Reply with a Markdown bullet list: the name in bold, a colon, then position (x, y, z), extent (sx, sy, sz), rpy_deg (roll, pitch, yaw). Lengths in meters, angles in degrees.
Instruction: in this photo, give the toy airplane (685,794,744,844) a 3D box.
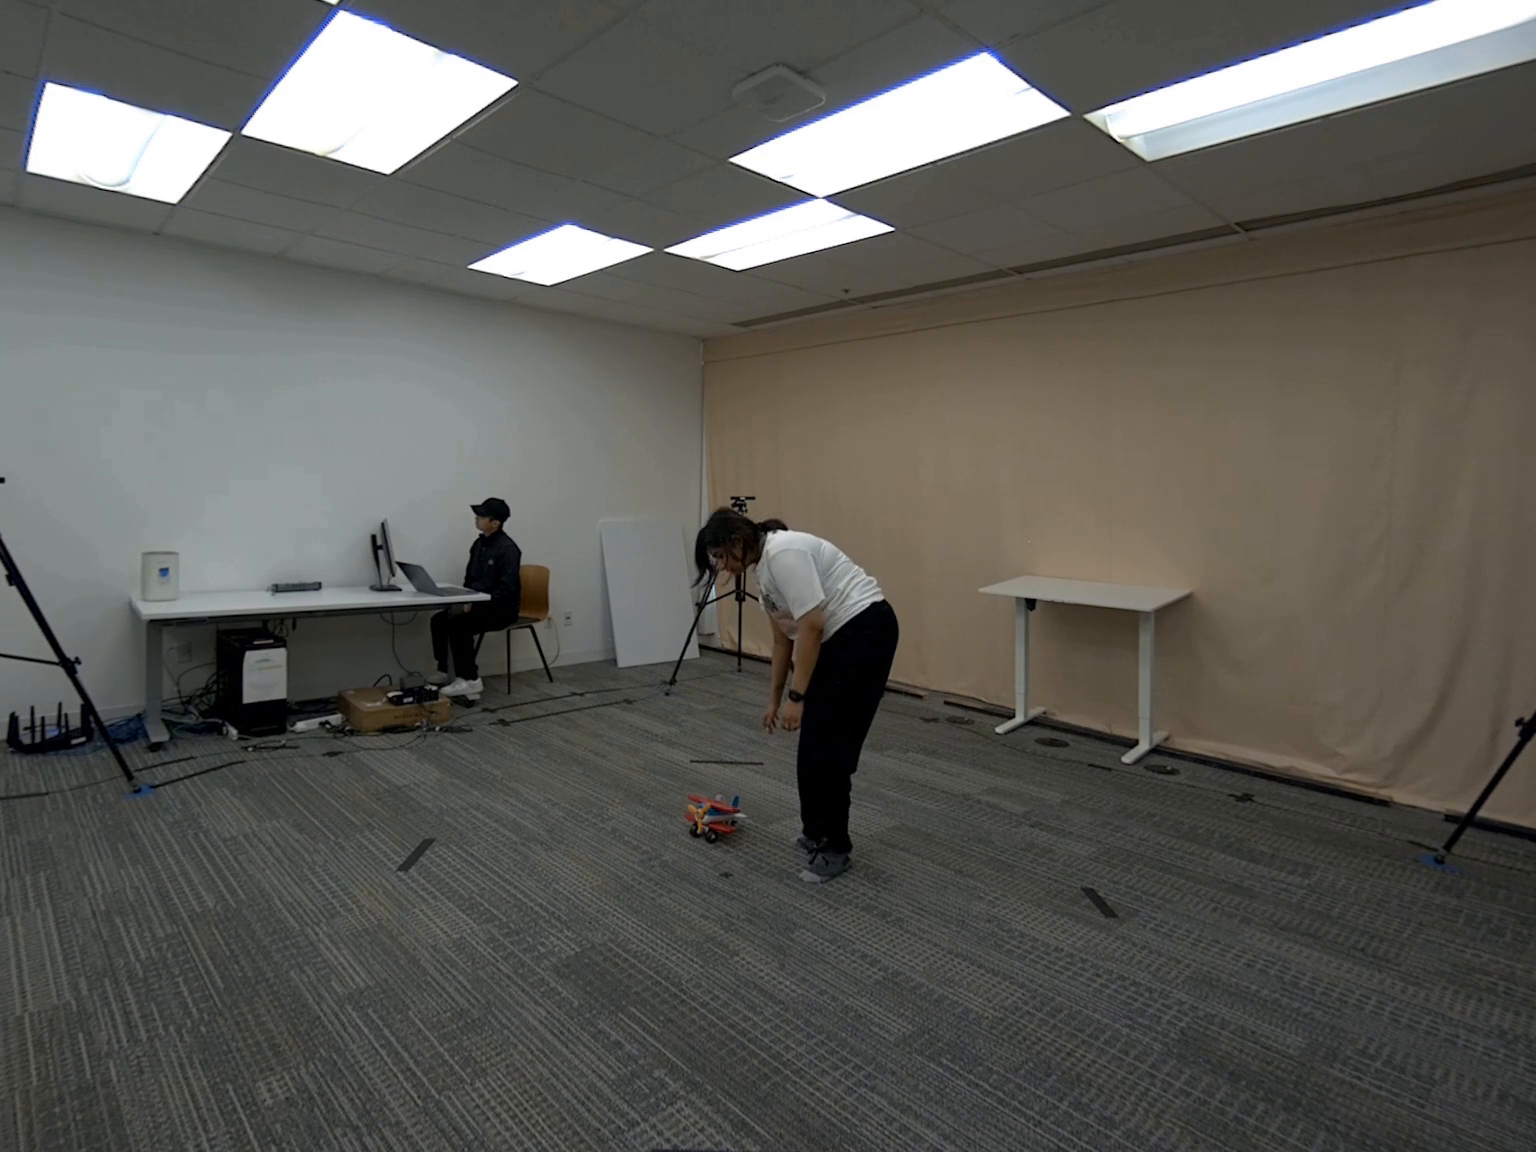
- **toy airplane**: position (-0.231, 0.985, 3.497), extent (0.253, 0.156, 0.258), rpy_deg (1, 5, 10)
